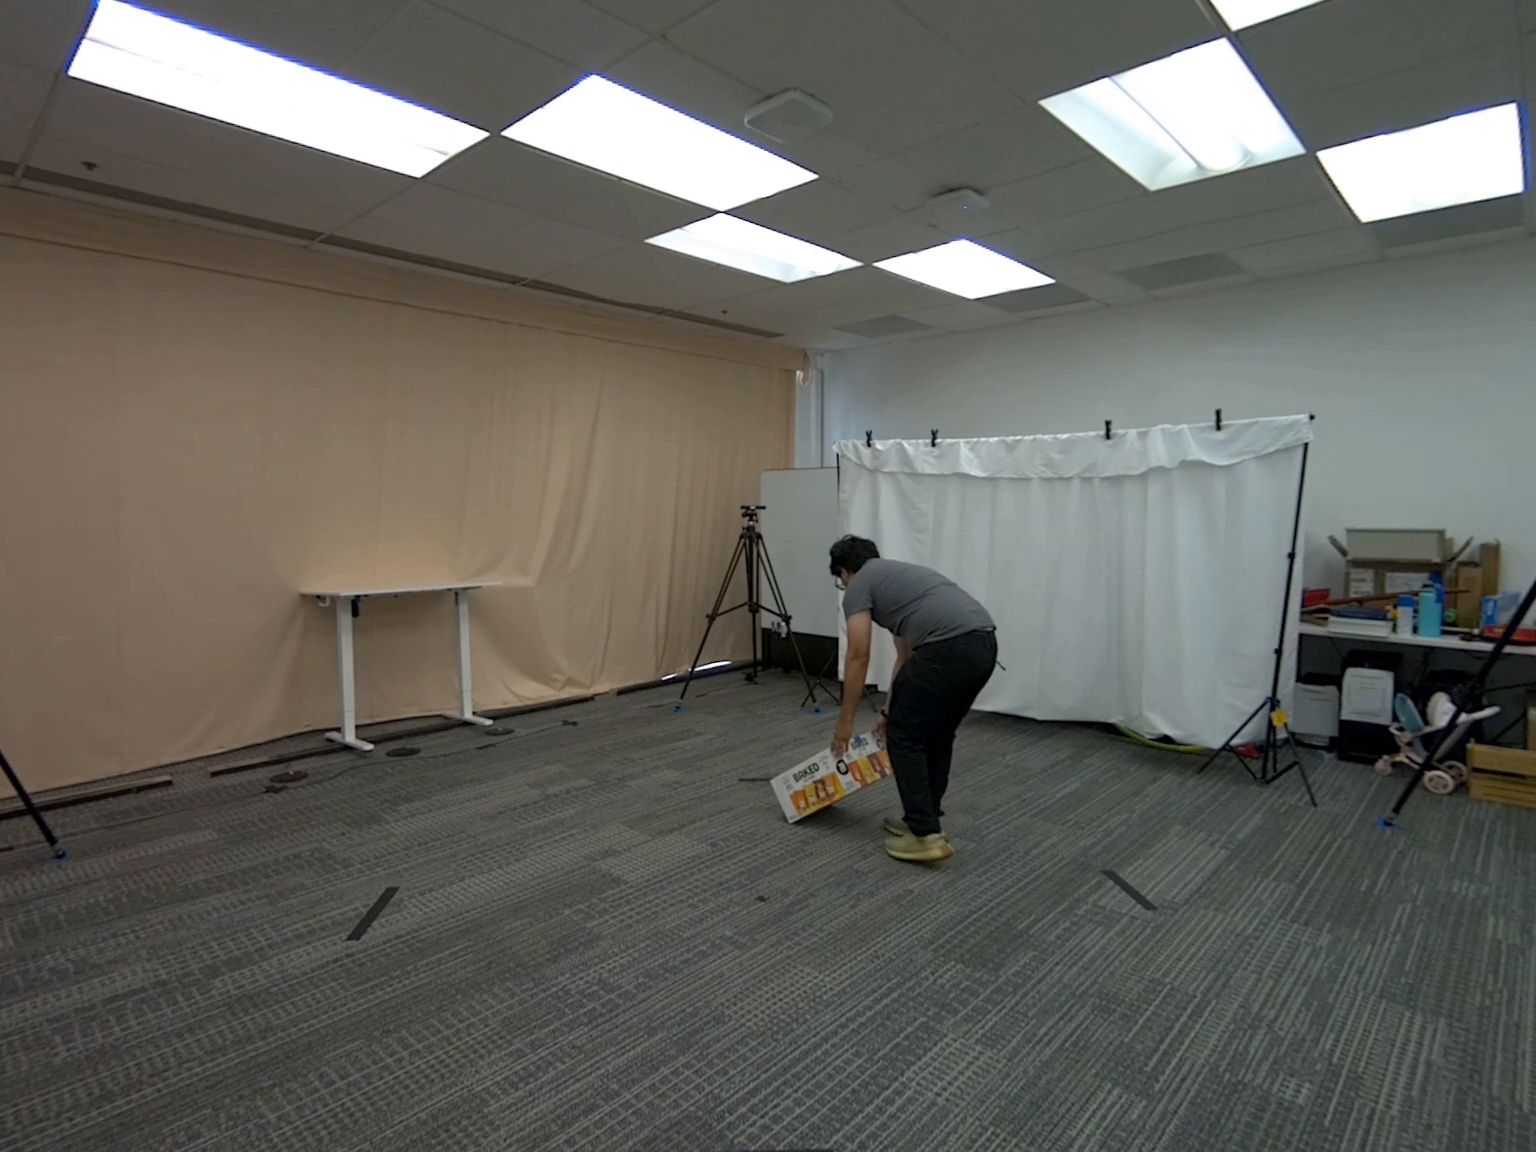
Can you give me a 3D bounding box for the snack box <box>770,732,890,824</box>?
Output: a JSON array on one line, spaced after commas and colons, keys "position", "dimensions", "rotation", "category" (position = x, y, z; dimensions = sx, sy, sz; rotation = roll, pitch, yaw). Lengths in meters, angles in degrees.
[{"position": [0.291, 0.887, 3.732], "dimensions": [0.410, 0.209, 0.330], "rotation": [-38, -21, 32], "category": "snack box"}]
